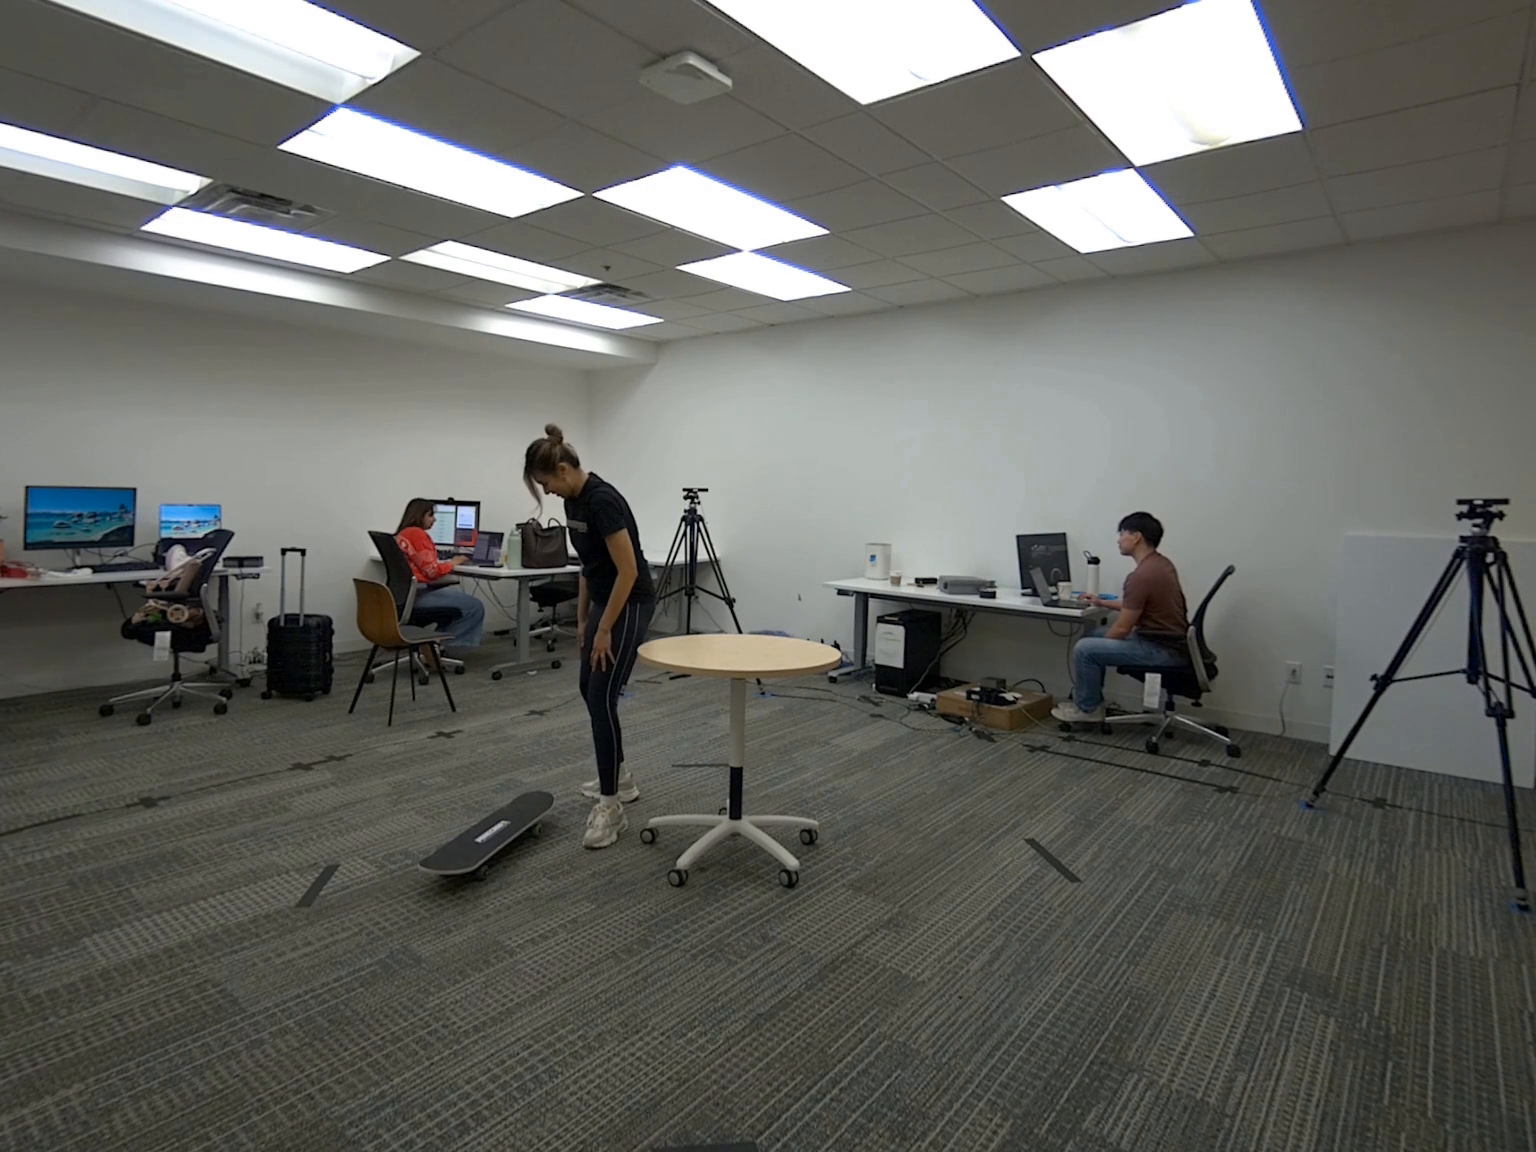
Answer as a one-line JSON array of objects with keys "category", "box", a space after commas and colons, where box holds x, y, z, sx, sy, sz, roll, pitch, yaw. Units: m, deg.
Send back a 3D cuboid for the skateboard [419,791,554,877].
[{"category": "skateboard", "box": [-1.046, 0.991, 3.205, 0.196, 0.110, 0.776, 3, 6, 13]}]
